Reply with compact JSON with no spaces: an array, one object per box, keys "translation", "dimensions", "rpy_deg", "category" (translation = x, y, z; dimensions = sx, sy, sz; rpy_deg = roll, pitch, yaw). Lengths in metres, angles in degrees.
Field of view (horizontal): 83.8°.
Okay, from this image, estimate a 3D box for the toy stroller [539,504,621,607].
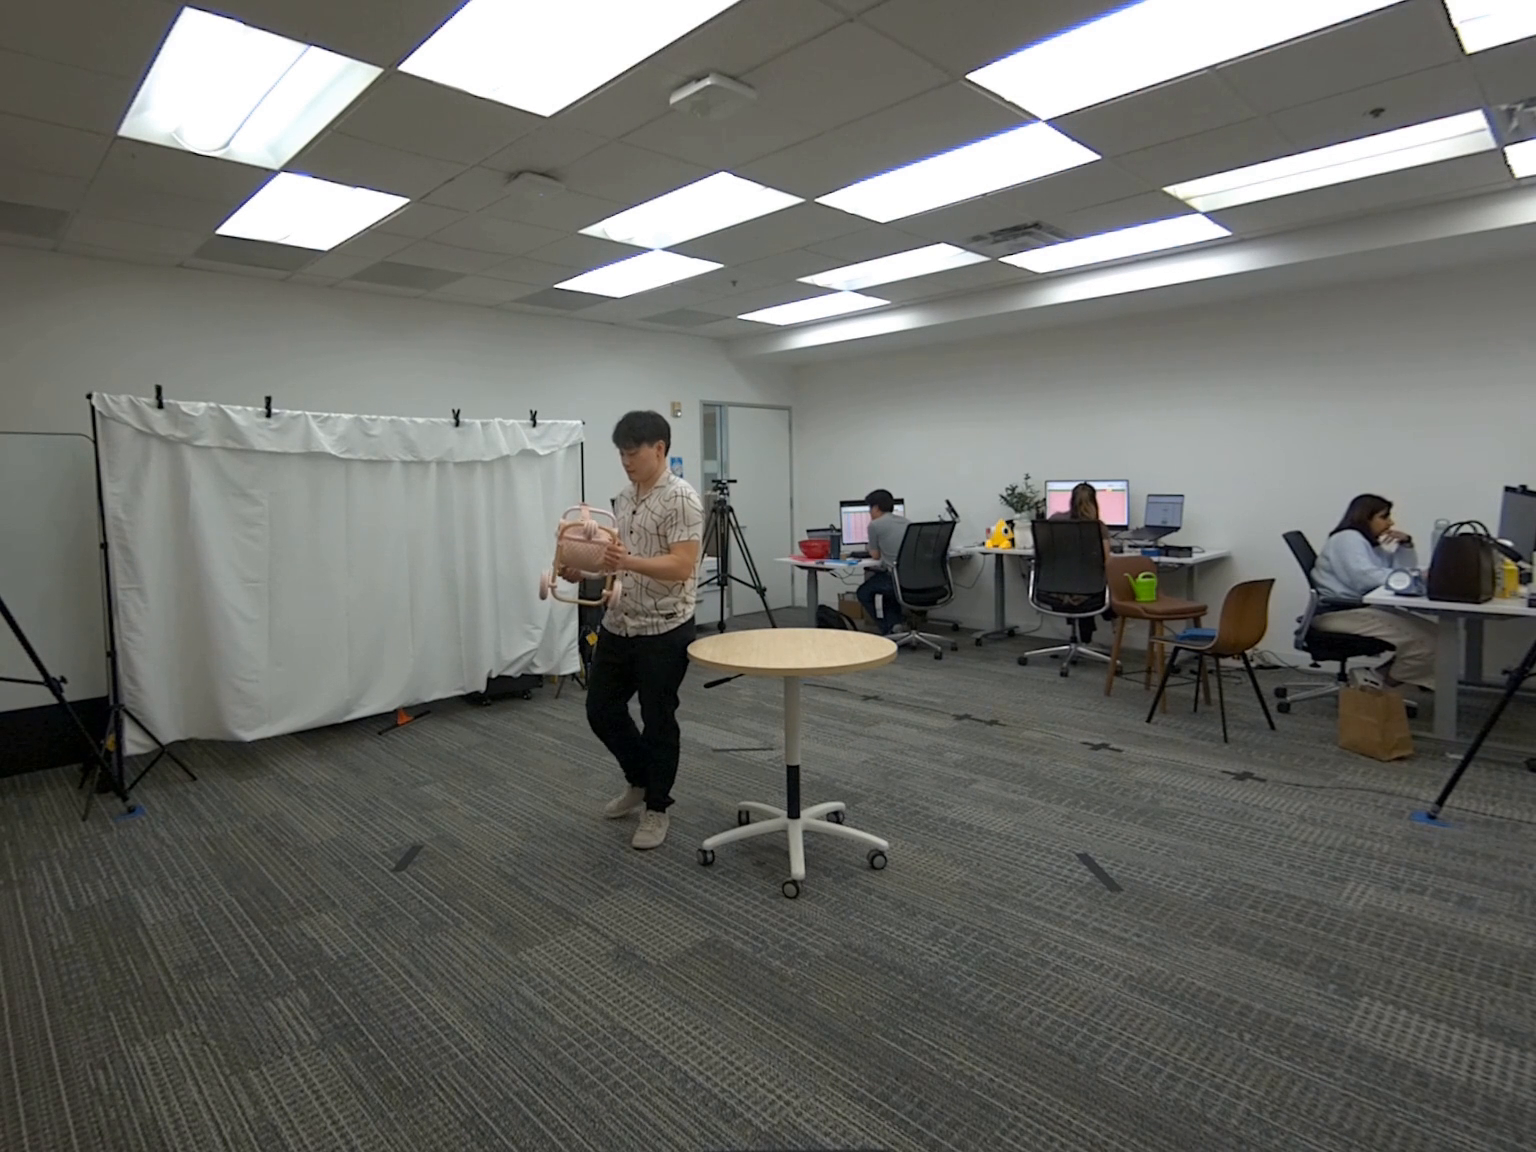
[{"translation":[-0.669,-0.094,3.092],"dimensions":[0.278,0.338,0.547],"rpy_deg":[5,15,-13],"category":"toy stroller"}]
